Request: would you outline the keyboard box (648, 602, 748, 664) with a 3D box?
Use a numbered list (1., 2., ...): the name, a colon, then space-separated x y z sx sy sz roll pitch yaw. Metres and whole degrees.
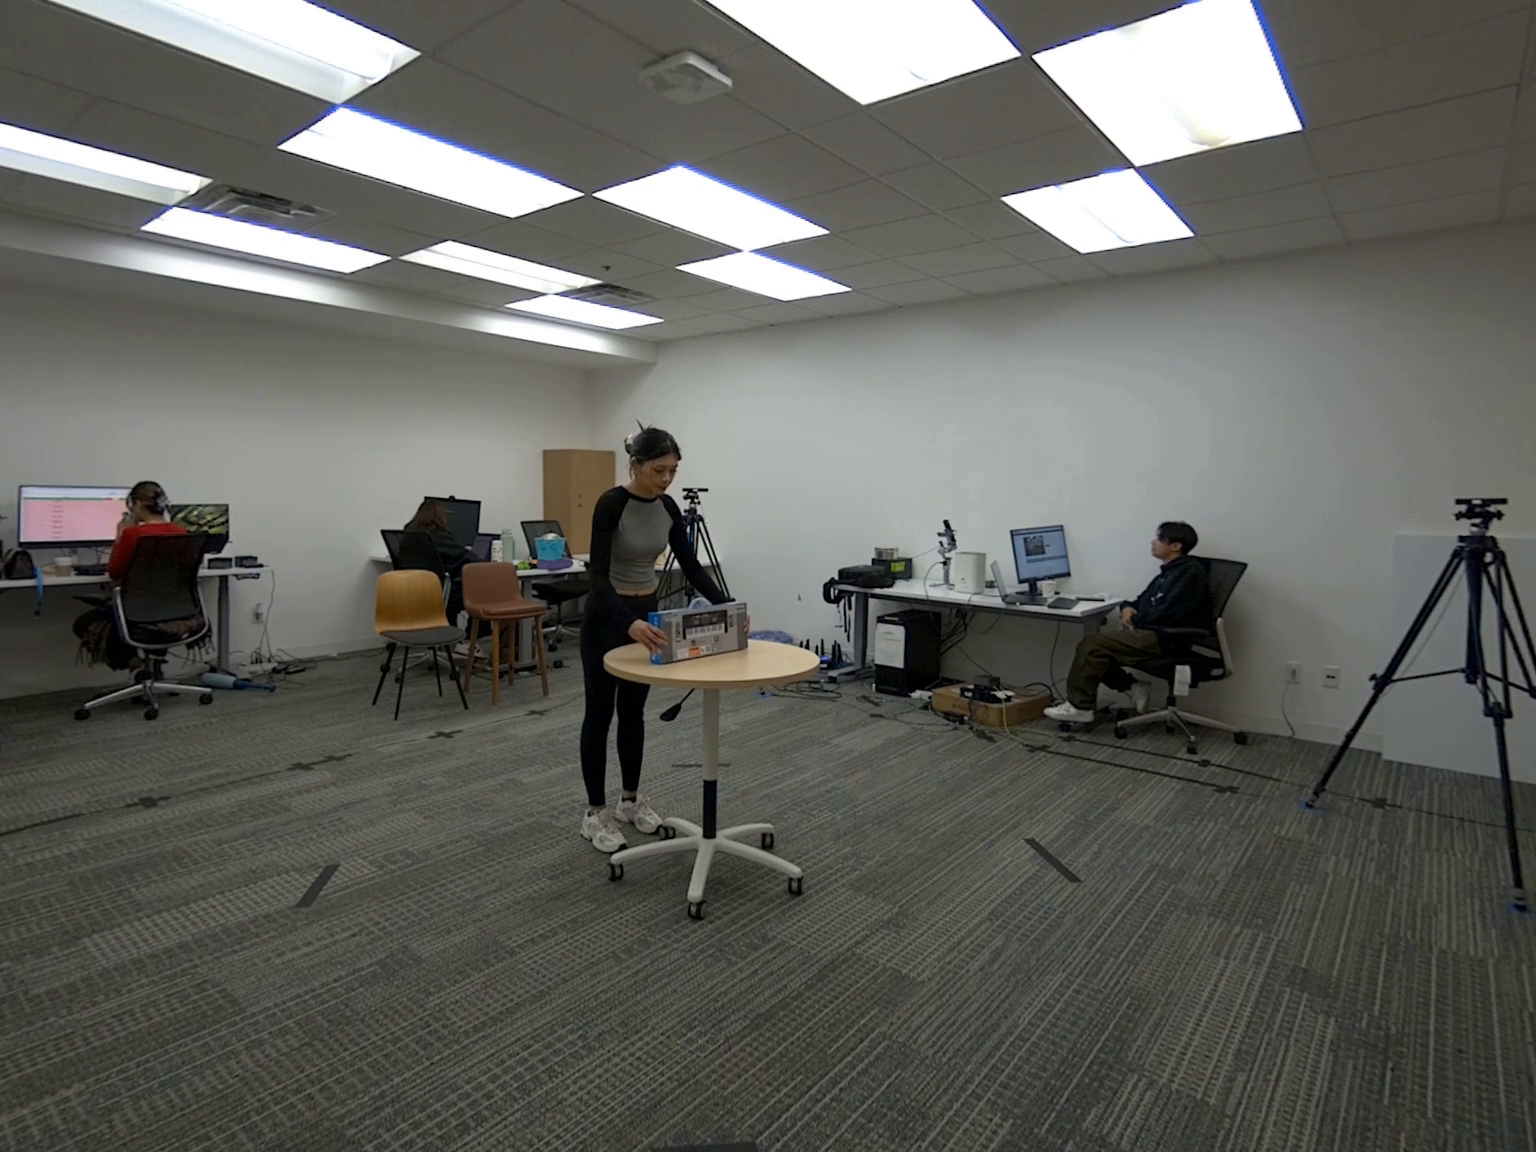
1. keyboard box: -0.249 0.198 3.042 0.061 0.175 0.424 1 4 43
